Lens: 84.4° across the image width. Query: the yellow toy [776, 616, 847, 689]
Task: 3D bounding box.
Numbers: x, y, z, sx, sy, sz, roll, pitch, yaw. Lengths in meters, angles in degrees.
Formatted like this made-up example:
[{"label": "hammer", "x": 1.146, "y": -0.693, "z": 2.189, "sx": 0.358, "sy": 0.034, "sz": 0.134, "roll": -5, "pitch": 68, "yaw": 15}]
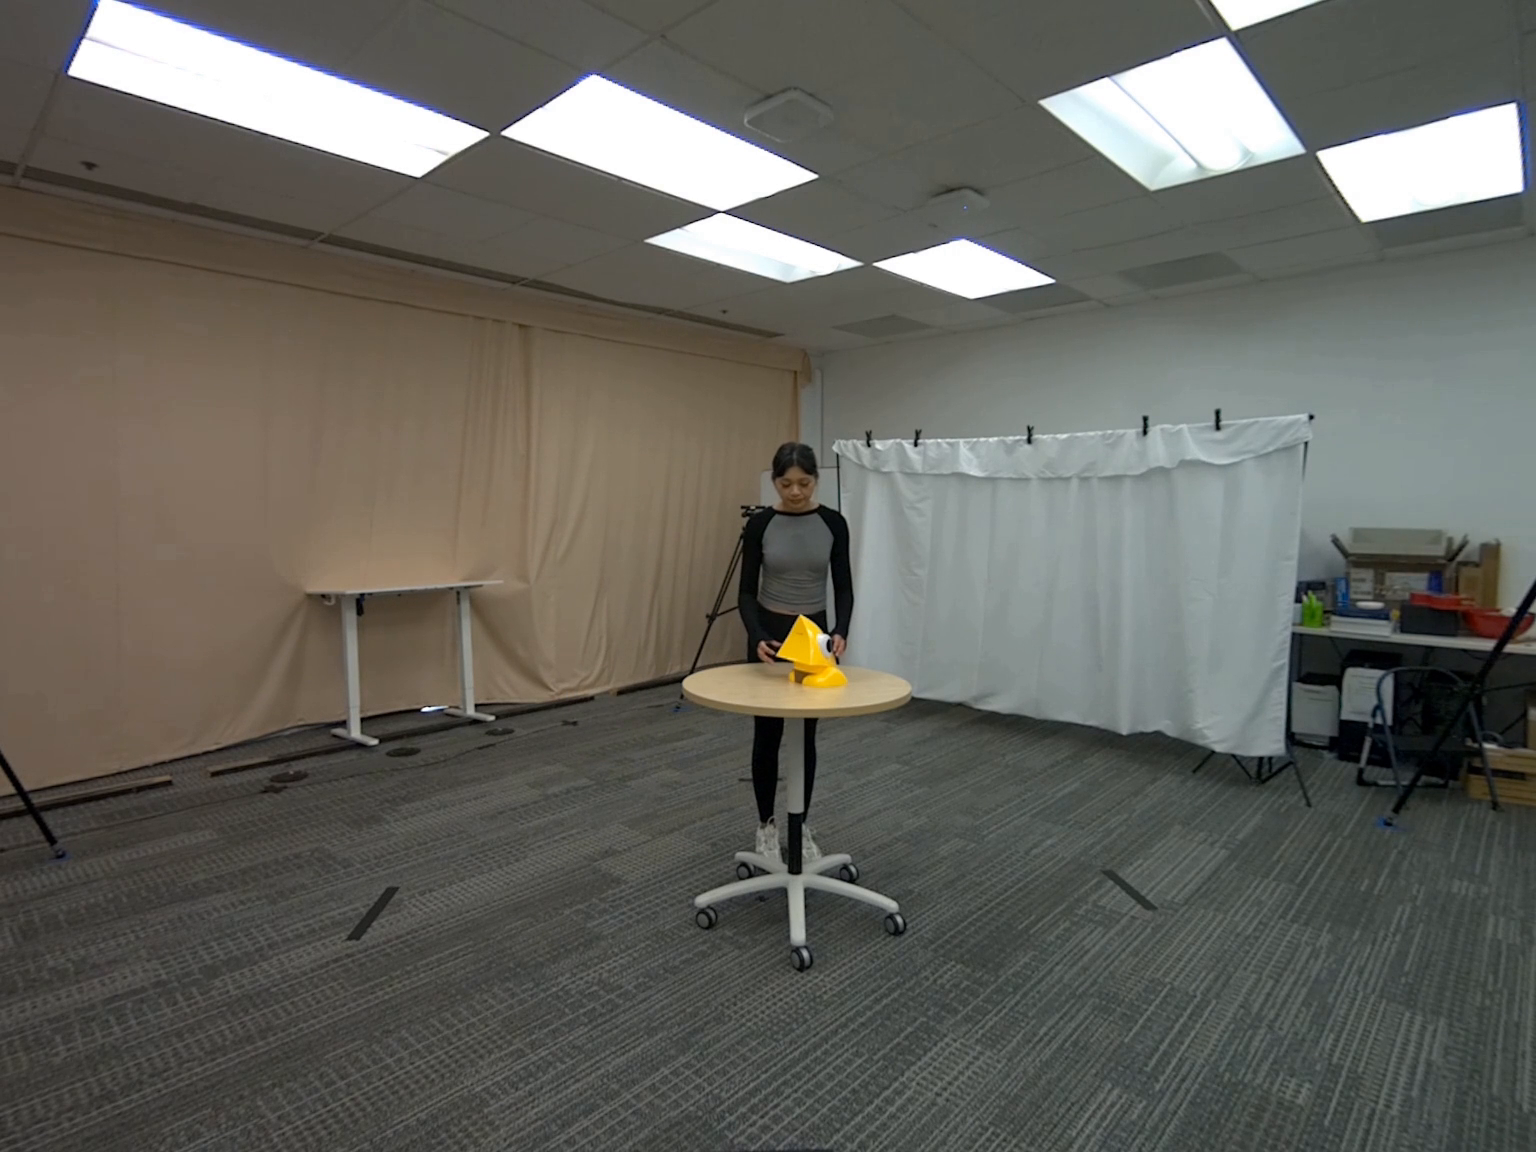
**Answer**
[{"label": "yellow toy", "x": 0.161, "y": 0.246, "z": 2.872, "sx": 0.188, "sy": 0.230, "sz": 0.211, "roll": 0, "pitch": 3, "yaw": -31}]
